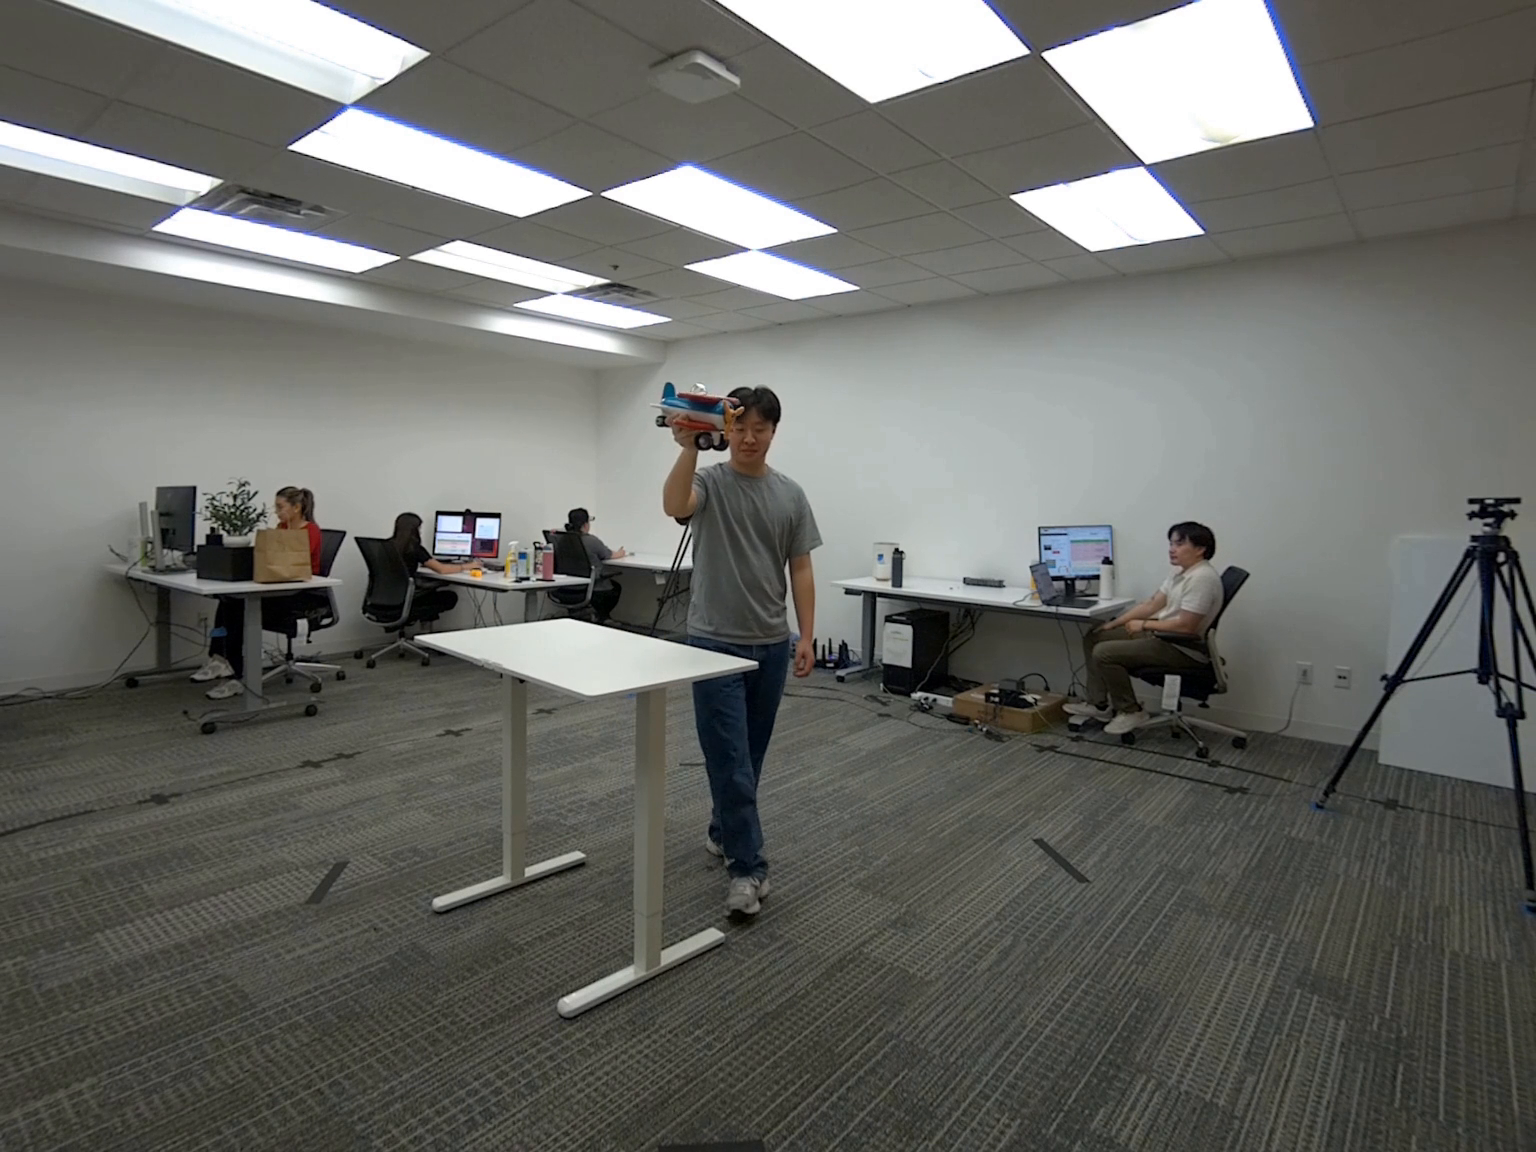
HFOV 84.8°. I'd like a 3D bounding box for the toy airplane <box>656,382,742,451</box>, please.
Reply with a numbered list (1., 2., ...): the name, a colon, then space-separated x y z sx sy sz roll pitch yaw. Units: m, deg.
1. toy airplane: -0.235 -0.471 2.444 0.259 0.155 0.253 21 17 -1
